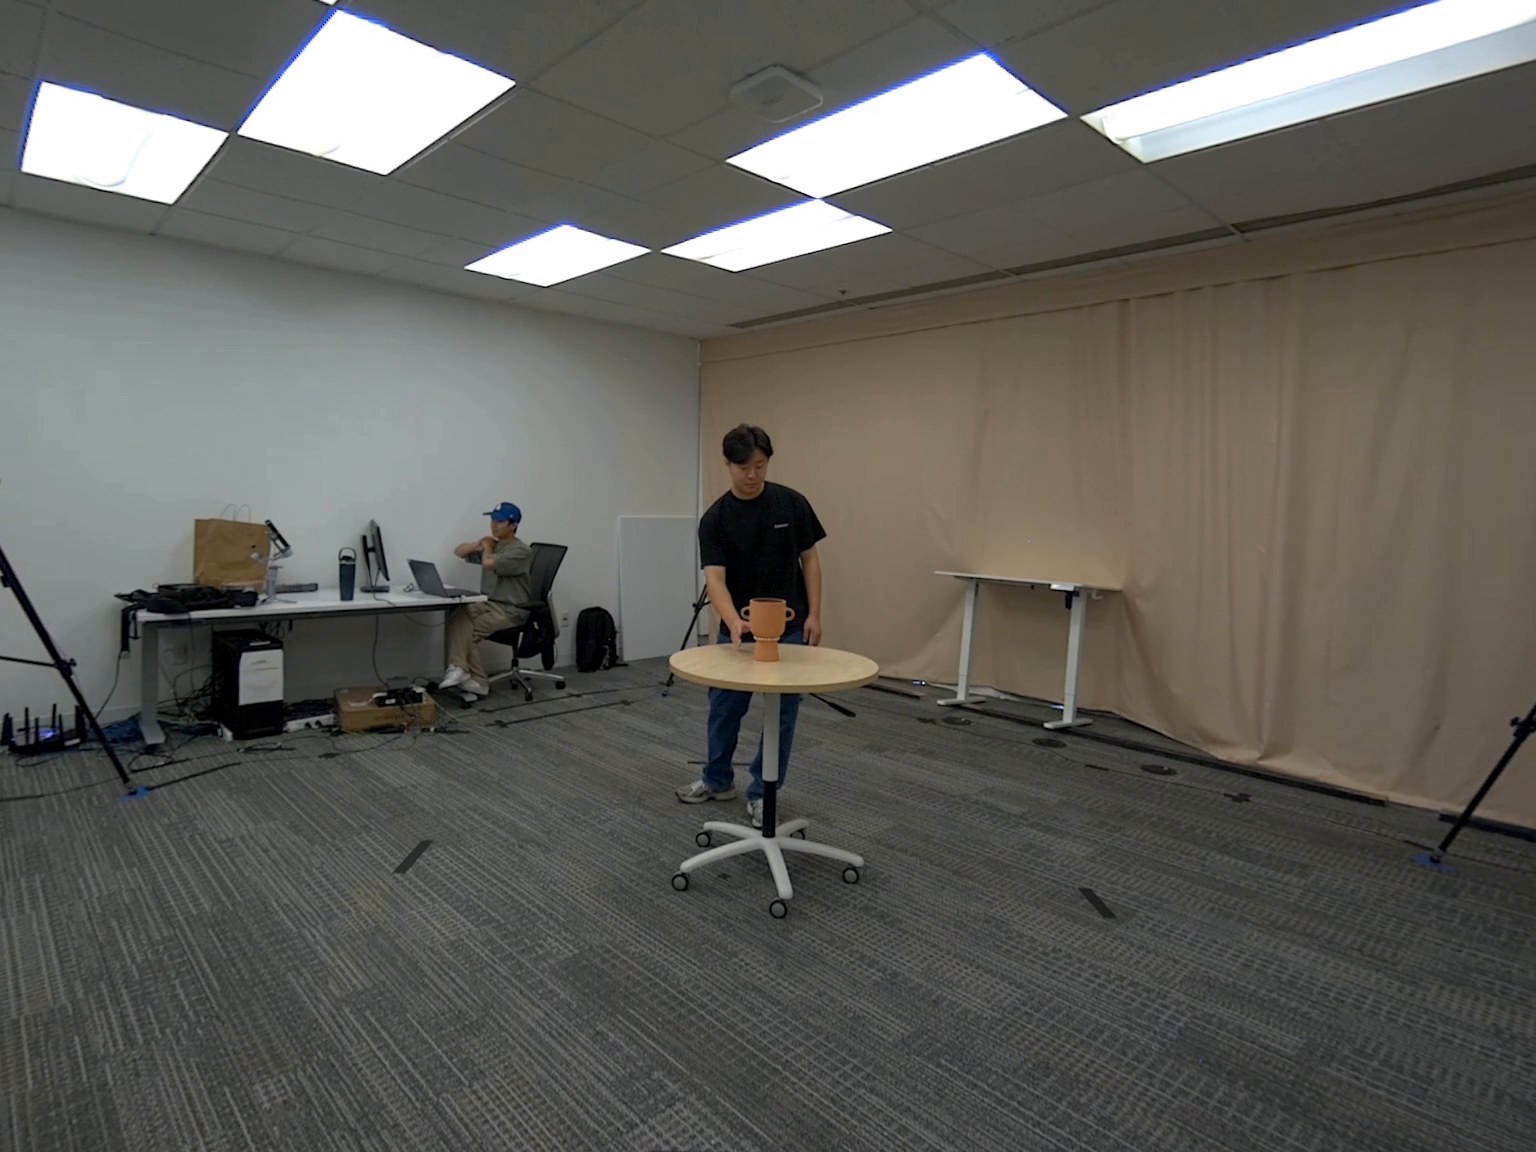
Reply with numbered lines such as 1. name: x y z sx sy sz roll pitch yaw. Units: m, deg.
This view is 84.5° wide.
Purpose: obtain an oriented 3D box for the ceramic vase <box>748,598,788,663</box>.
1. ceramic vase: -0.014 0.202 3.132 0.162 0.219 0.132 4 4 36
